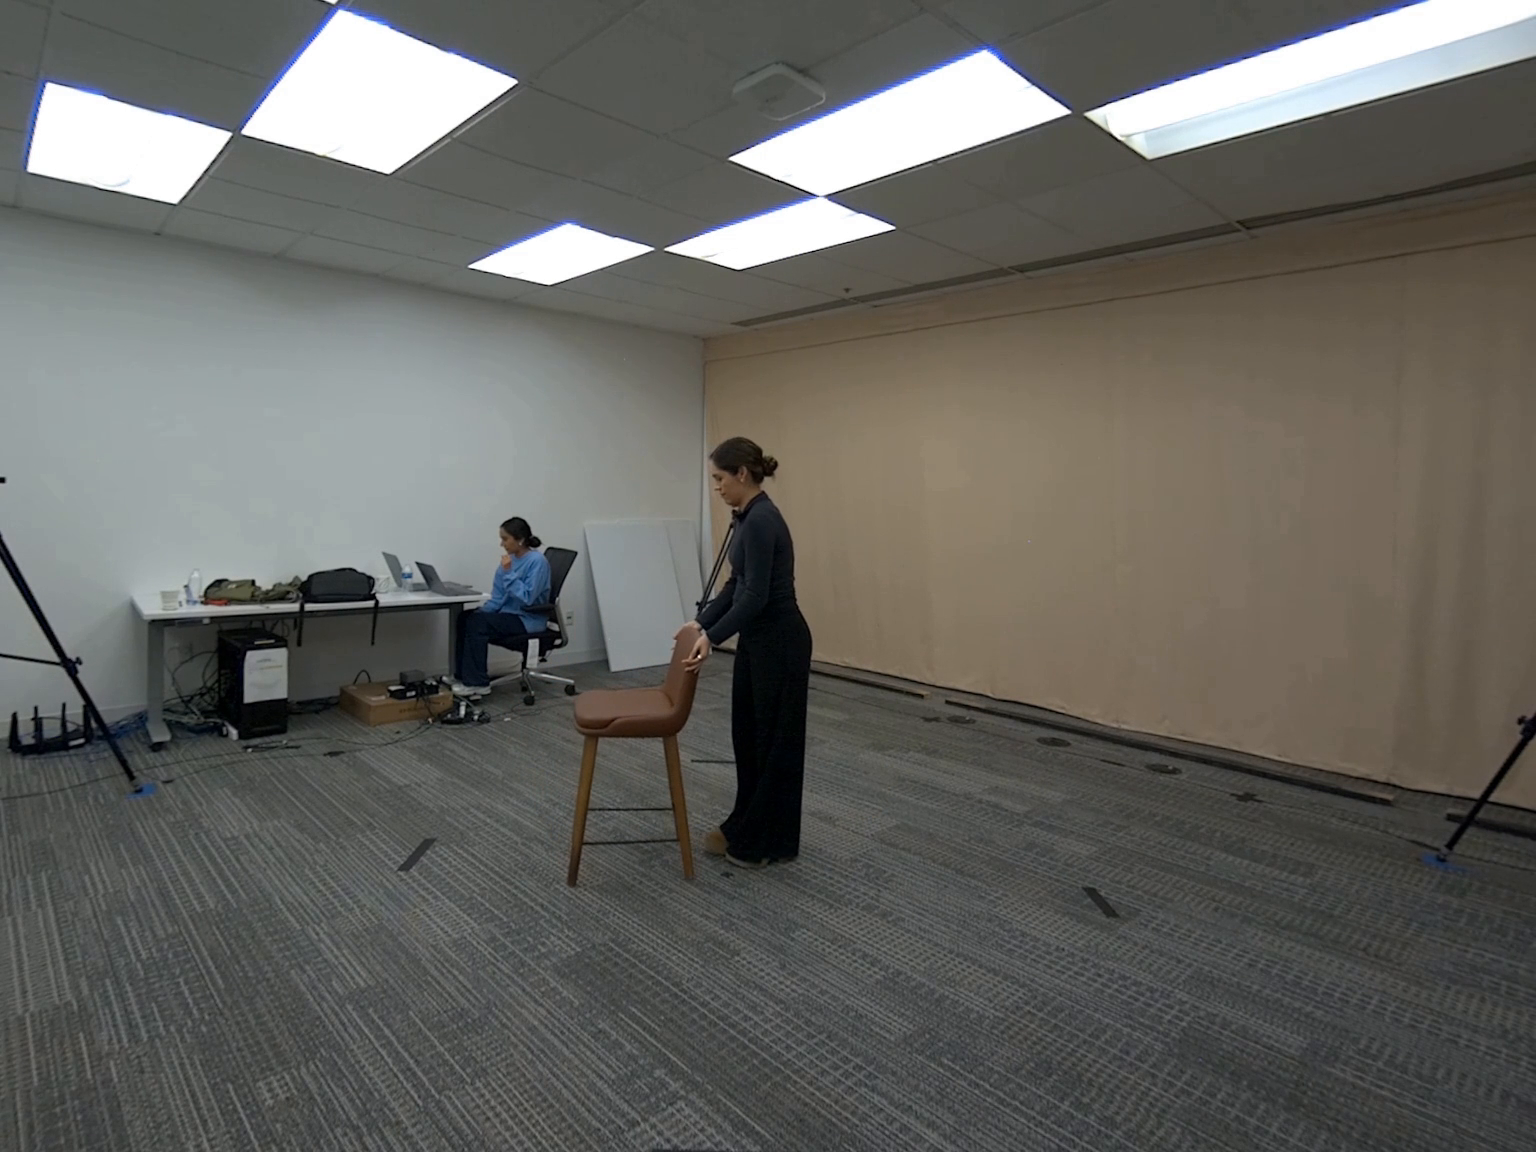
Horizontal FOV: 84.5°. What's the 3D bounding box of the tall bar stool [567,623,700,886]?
[{"bbox_3d":[-0.509,0.644,3.181,0.464,0.888,0.461,3,3,-10],"label":"tall bar stool"}]
